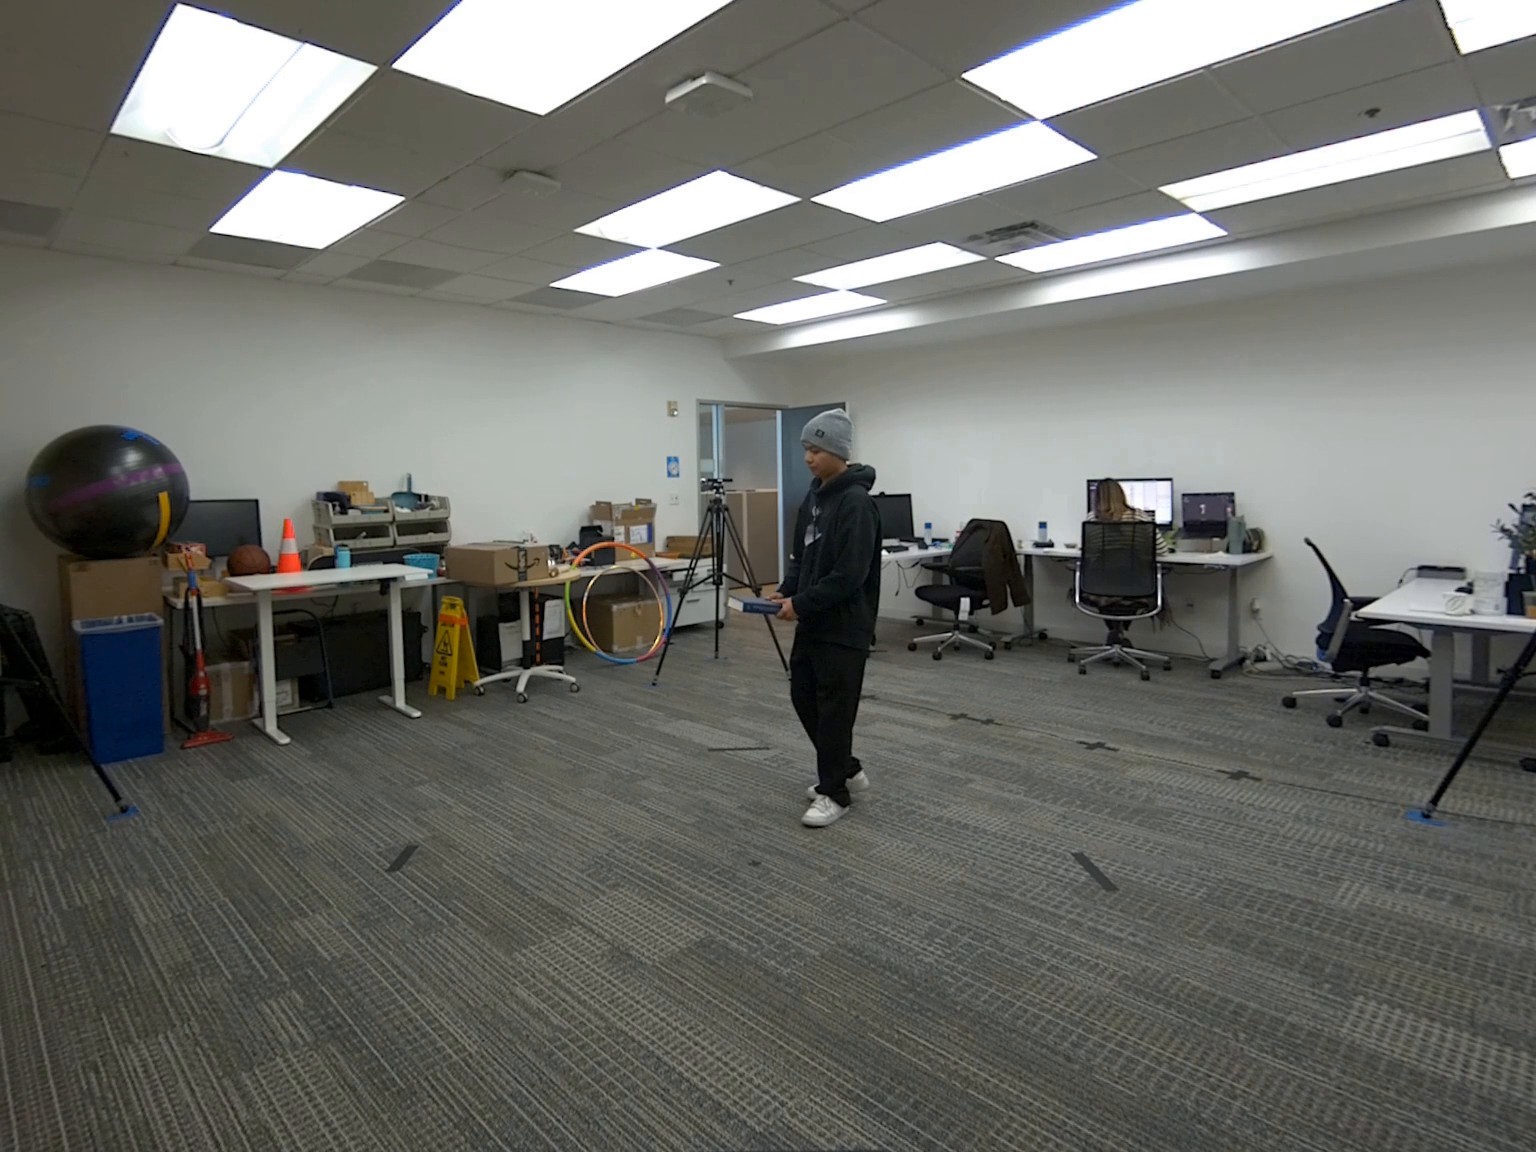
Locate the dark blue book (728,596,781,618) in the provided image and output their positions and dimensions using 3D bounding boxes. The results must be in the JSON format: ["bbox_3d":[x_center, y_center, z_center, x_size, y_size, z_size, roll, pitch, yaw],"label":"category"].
[{"bbox_3d":[0.001,0.123,3.454,0.244,0.045,0.164,7,4,-3],"label":"dark blue book"}]
